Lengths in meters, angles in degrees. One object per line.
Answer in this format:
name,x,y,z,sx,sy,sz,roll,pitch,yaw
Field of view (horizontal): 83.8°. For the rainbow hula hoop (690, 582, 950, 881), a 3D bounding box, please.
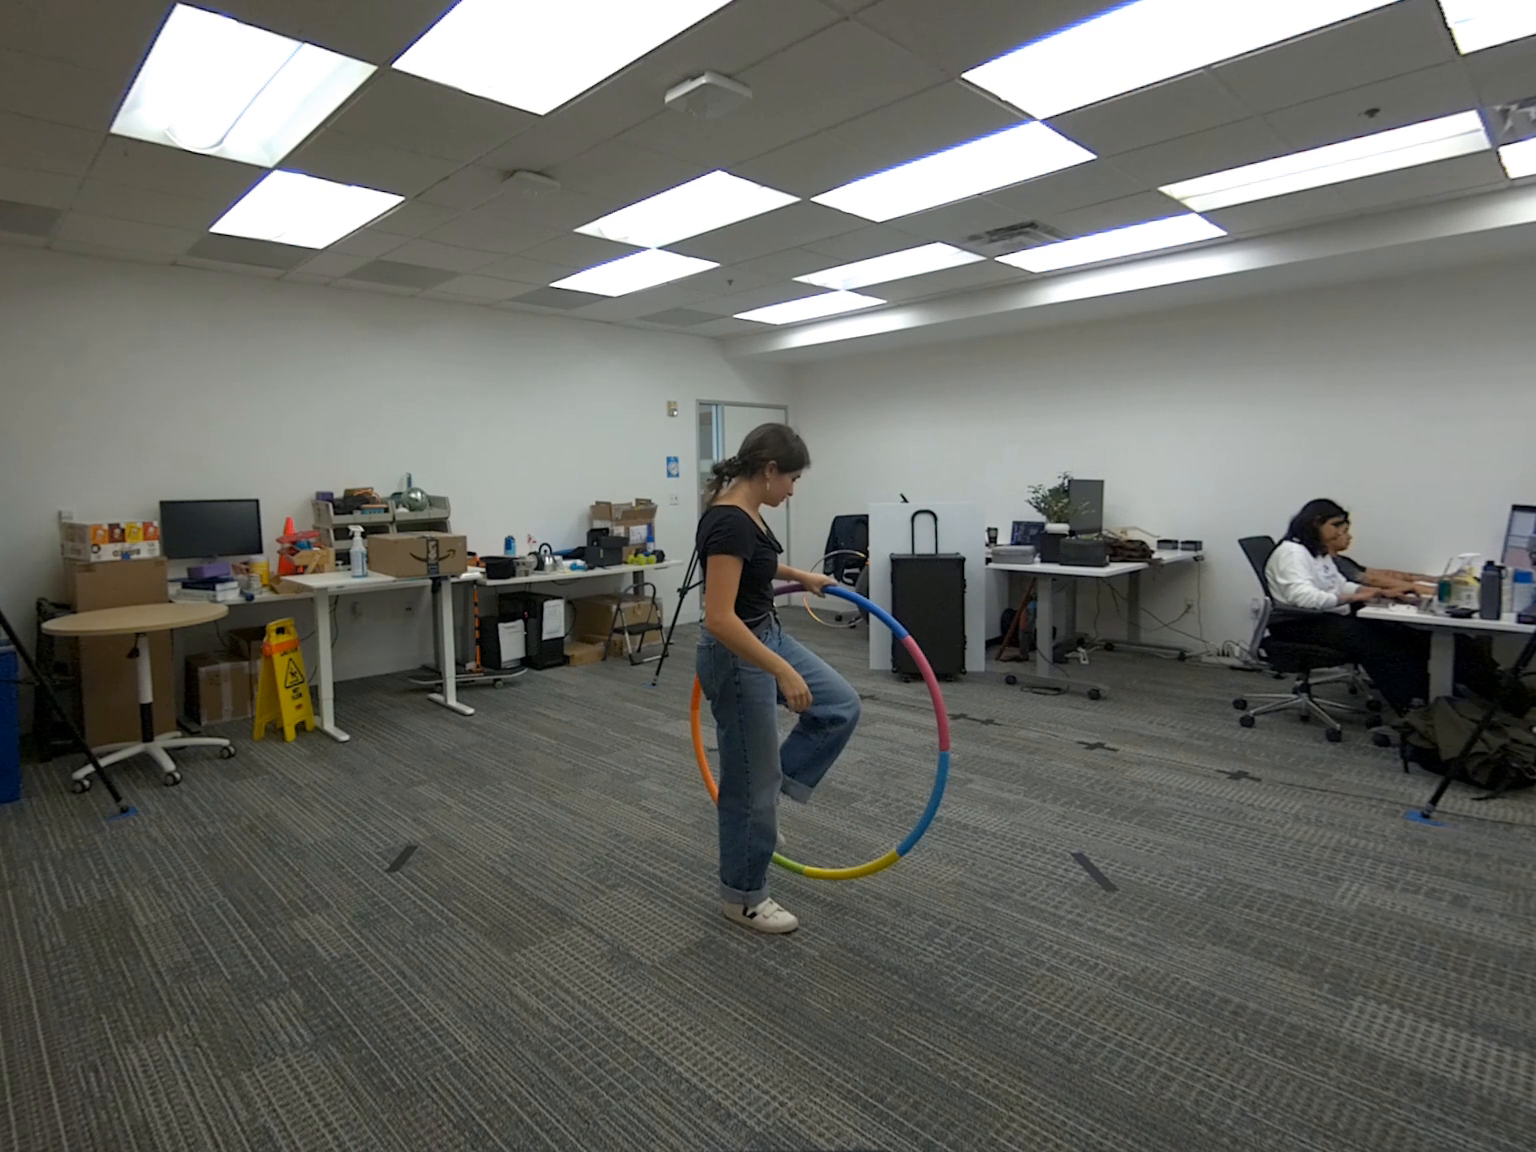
rainbow hula hoop,0.136,0.512,2.904,1.006,0.980,0.034,2,-2,34
